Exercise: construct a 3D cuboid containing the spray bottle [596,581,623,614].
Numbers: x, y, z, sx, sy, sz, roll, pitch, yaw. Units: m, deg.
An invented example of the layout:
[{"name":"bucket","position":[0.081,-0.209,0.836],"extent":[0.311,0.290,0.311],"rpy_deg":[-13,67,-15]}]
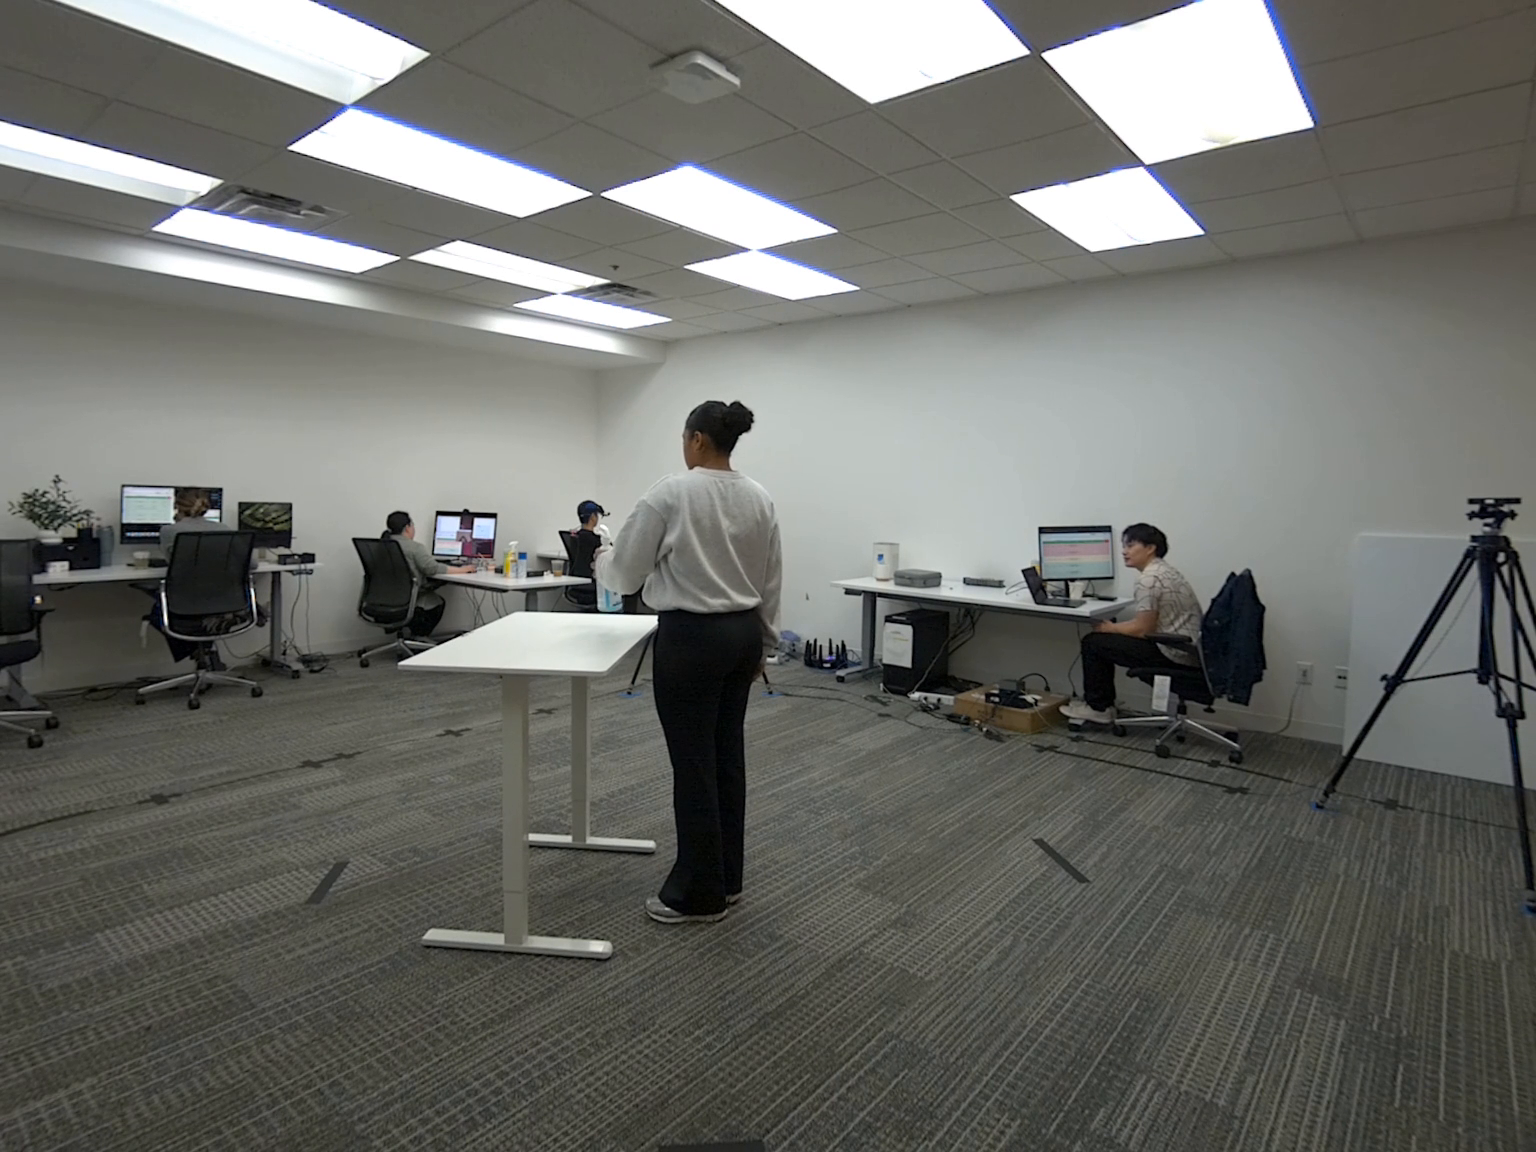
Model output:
[{"name":"spray bottle","position":[-0.573,-0.029,3.000],"extent":[0.087,0.295,0.090],"rpy_deg":[-1,9,3]}]
